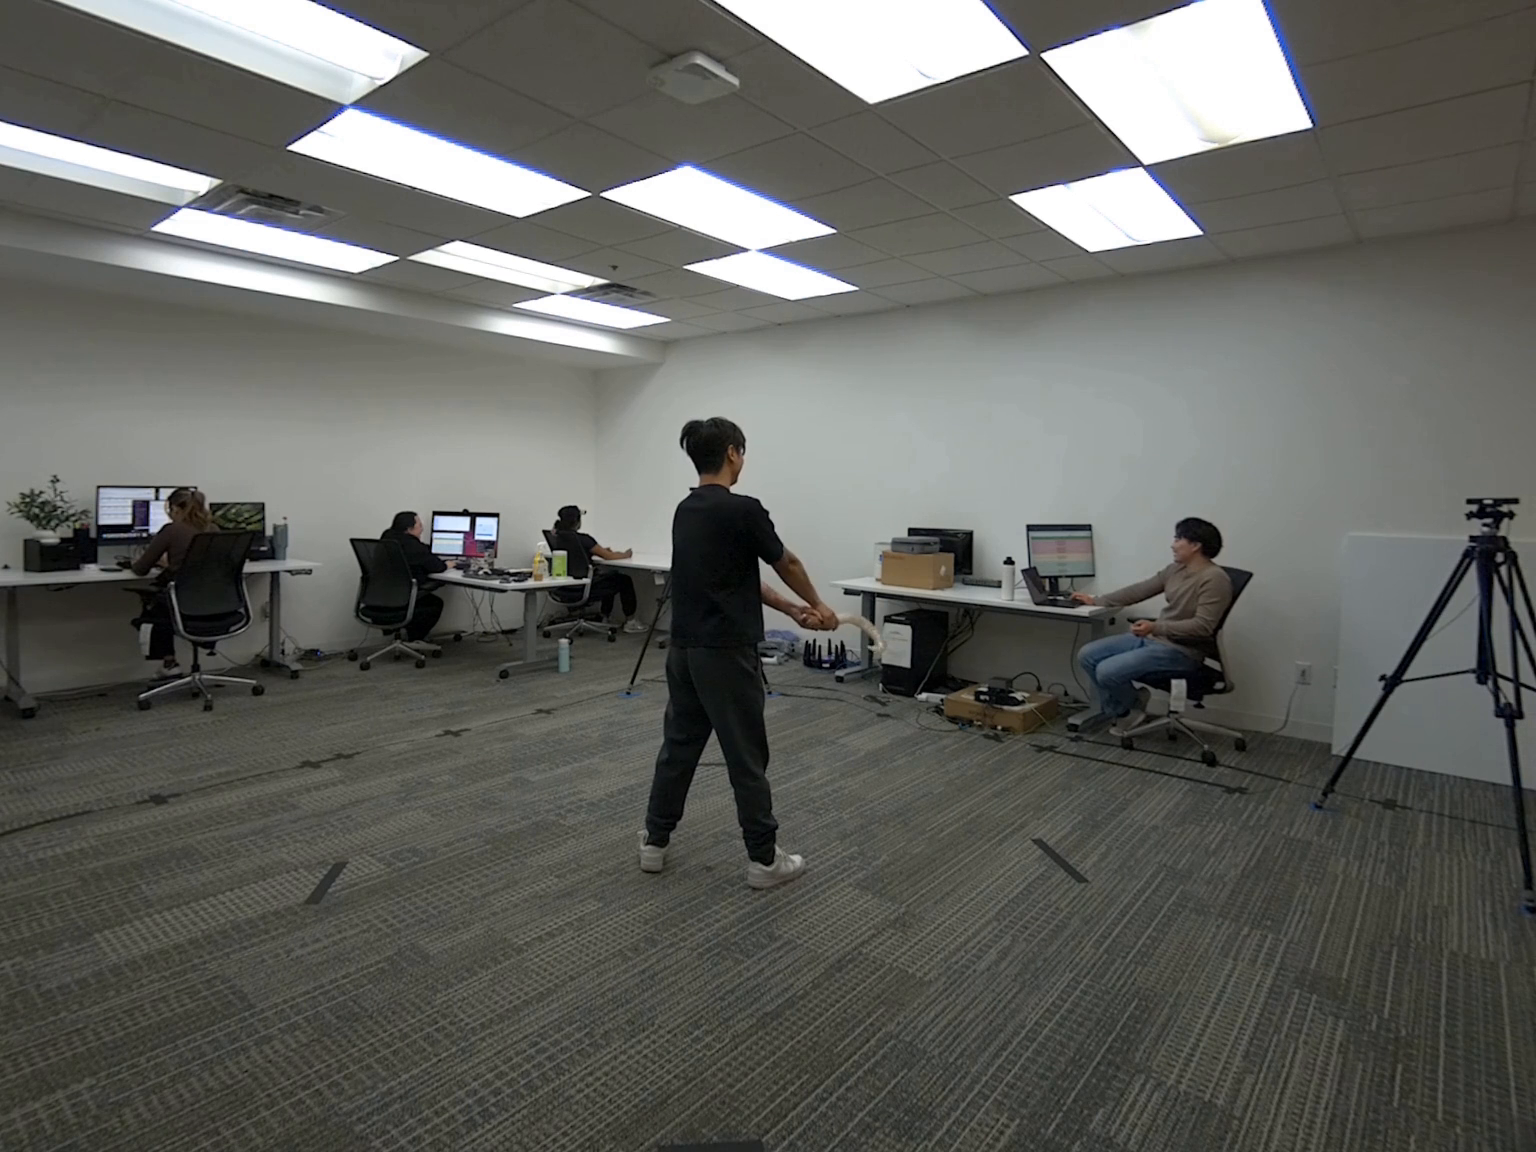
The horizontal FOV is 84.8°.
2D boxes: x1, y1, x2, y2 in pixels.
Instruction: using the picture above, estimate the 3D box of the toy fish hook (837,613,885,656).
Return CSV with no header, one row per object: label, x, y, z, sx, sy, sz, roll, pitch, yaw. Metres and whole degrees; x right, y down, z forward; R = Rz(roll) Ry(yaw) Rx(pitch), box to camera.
toy fish hook,0.293,0.213,3.284,0.233,0.048,0.489,44,21,31
